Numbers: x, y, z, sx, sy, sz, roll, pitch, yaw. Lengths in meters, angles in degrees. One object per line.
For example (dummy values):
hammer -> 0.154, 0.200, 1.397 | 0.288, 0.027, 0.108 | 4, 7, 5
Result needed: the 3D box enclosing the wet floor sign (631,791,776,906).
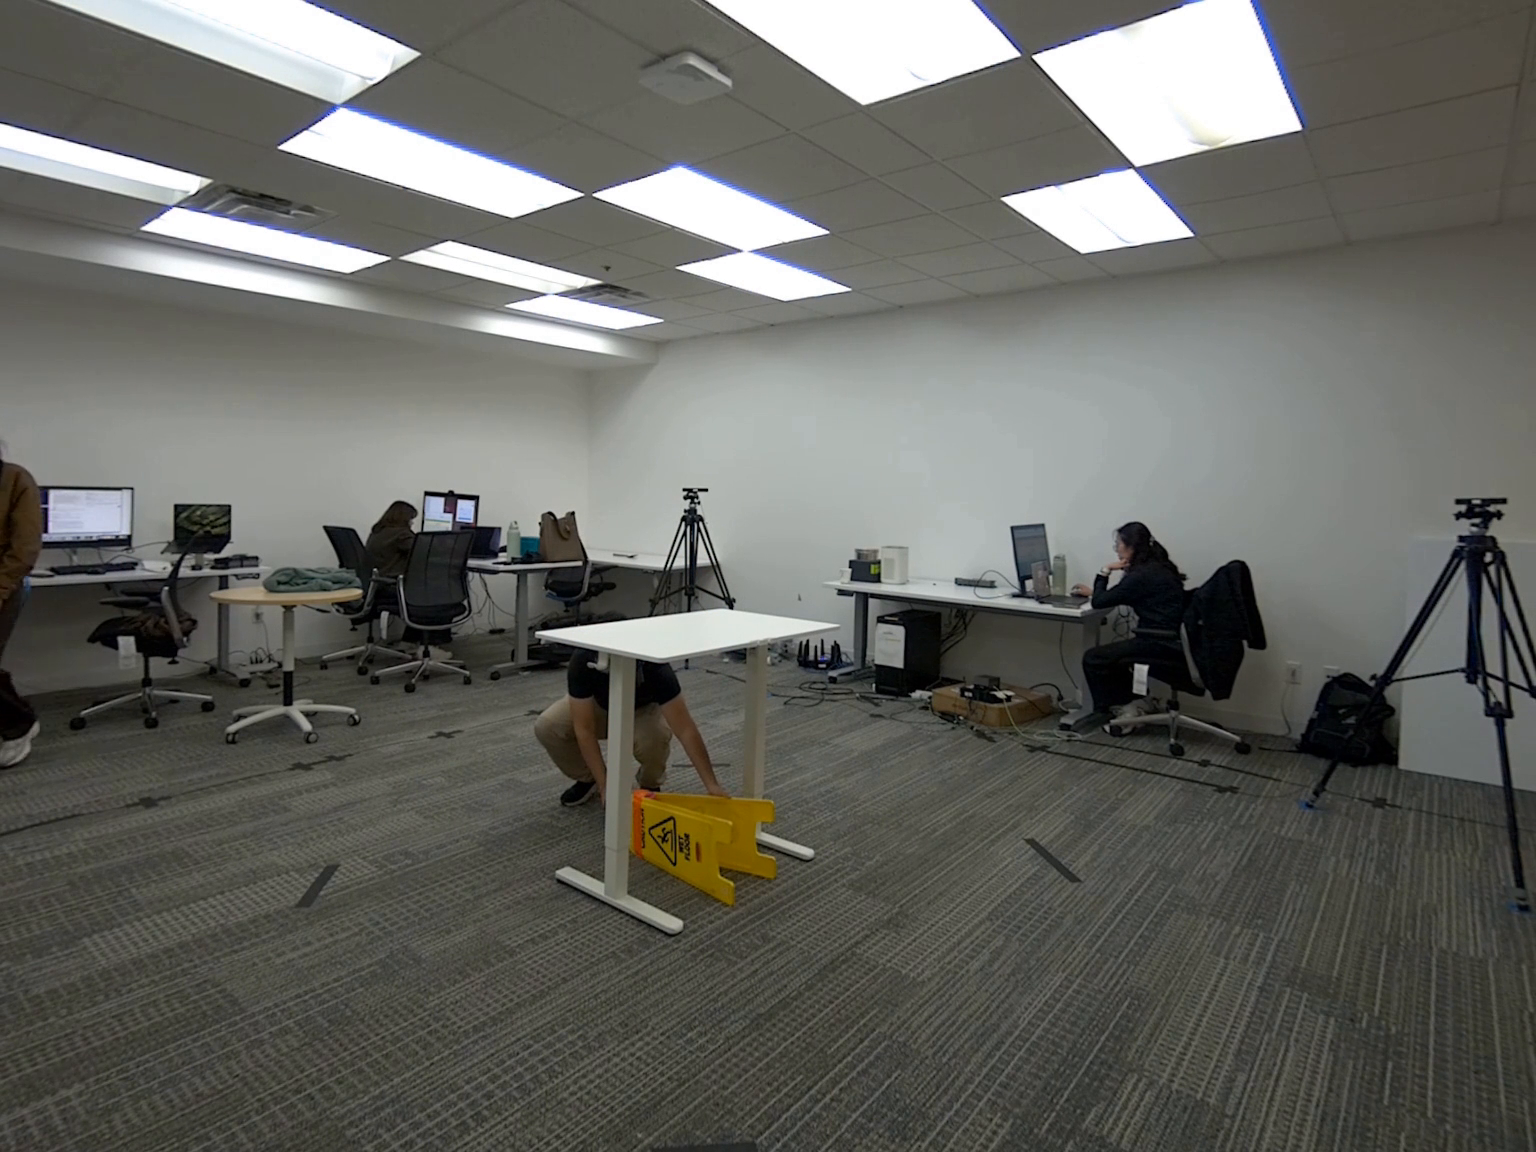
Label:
wet floor sign -> -0.330, 0.942, 3.123 | 0.665, 0.282, 0.281 | 1, 3, 34
